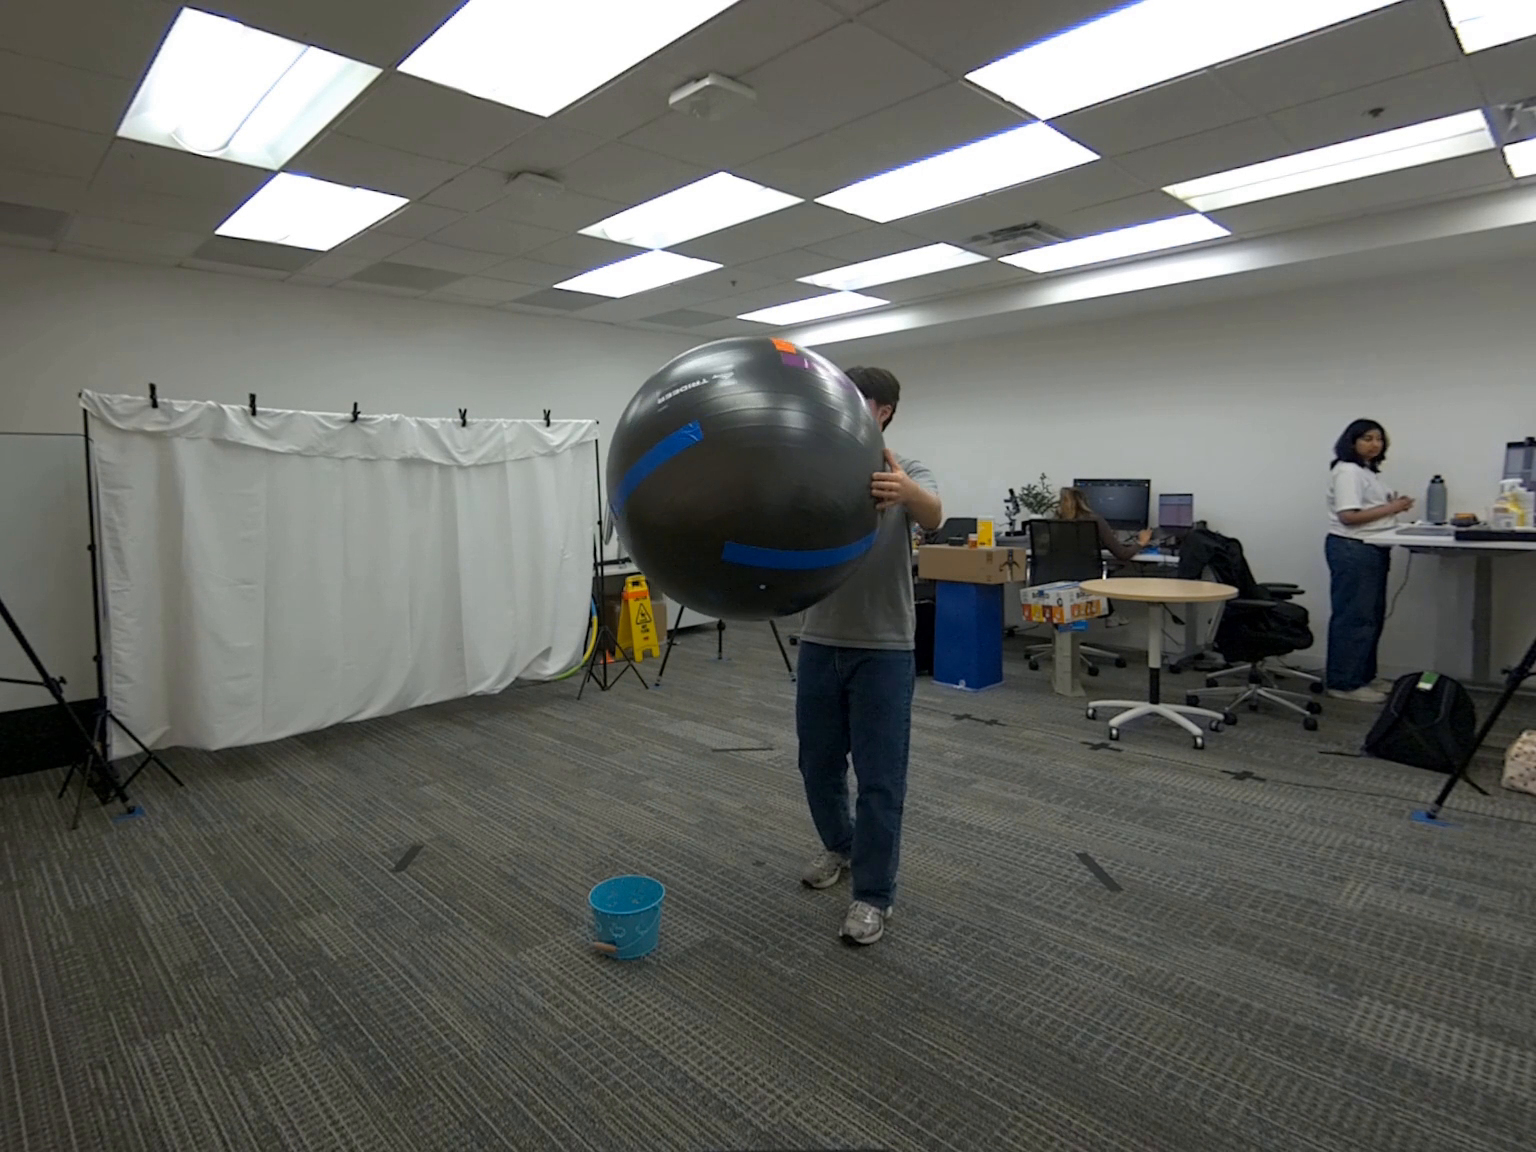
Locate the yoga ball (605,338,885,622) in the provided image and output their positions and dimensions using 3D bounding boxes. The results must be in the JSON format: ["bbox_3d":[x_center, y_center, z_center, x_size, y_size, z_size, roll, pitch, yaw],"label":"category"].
[{"bbox_3d":[-0.056,-0.255,2.304,0.757,0.755,0.762,-1,5,-2],"label":"yoga ball"}]
